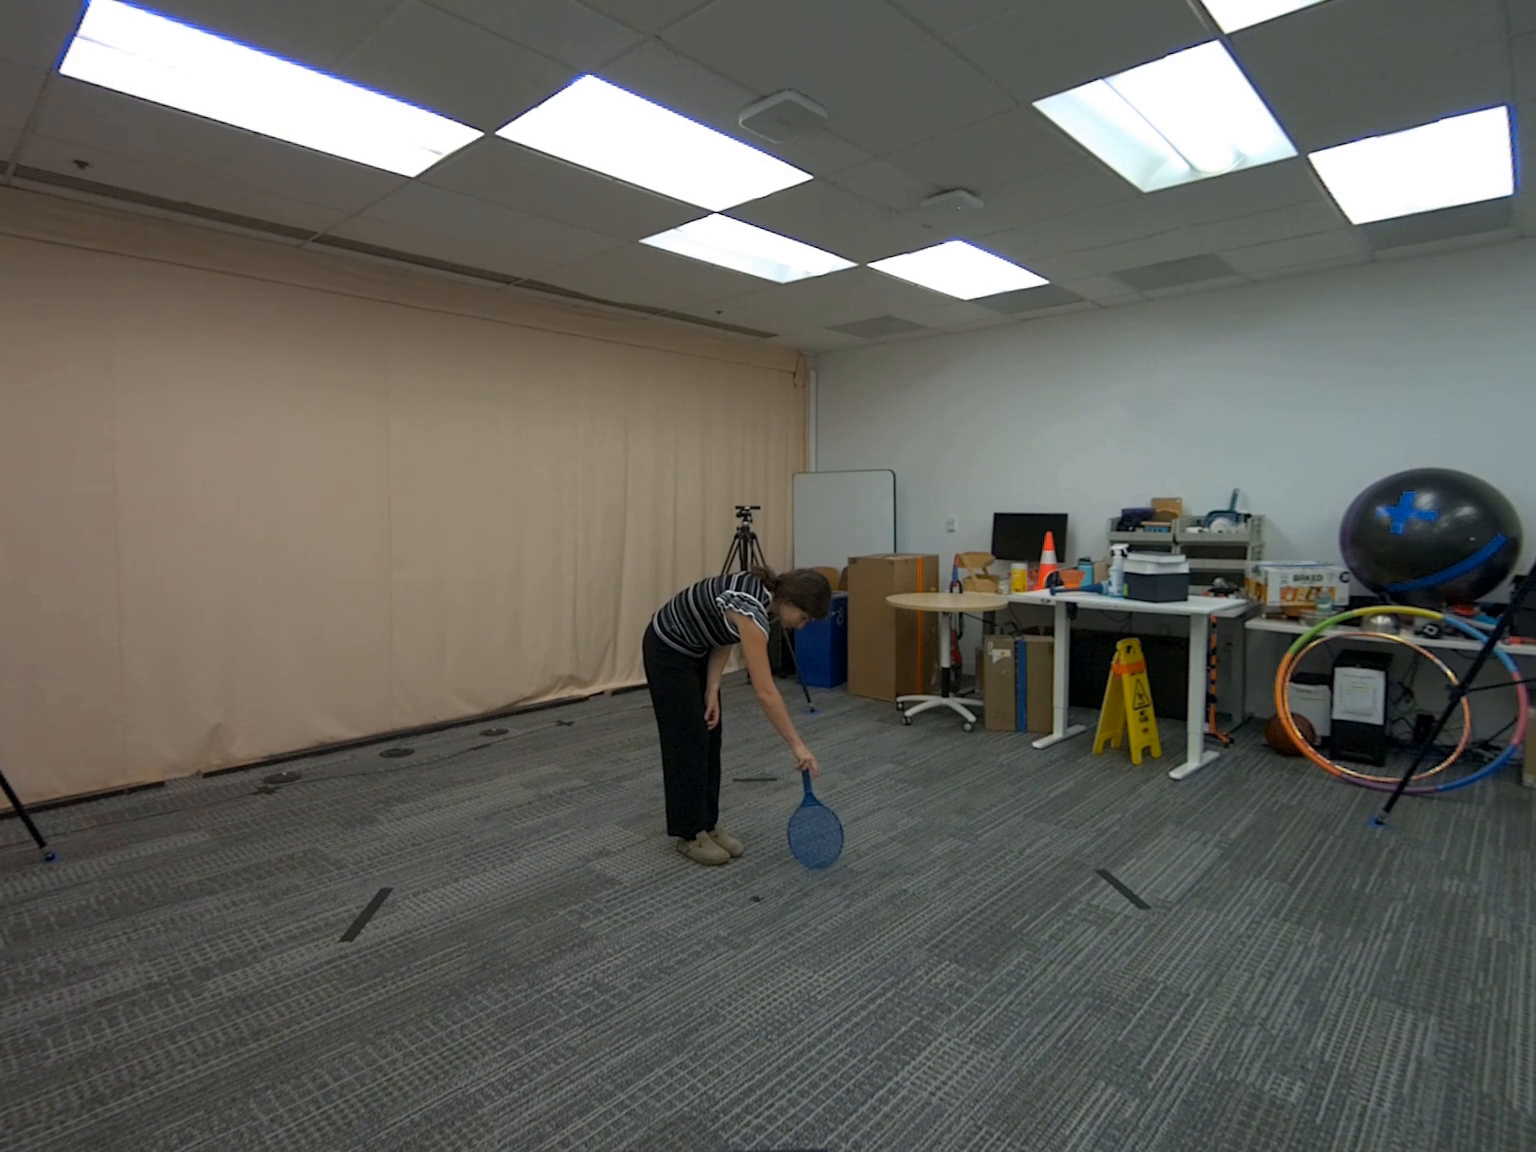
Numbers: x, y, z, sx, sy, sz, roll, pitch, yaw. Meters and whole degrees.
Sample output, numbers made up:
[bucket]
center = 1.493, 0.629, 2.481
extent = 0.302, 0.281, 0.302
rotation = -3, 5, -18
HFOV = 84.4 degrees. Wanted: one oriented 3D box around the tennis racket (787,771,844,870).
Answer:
[tennis racket]
center = 0.175, 0.909, 3.196
extent = 0.214, 0.430, 0.032
rotation = -6, 8, 1
